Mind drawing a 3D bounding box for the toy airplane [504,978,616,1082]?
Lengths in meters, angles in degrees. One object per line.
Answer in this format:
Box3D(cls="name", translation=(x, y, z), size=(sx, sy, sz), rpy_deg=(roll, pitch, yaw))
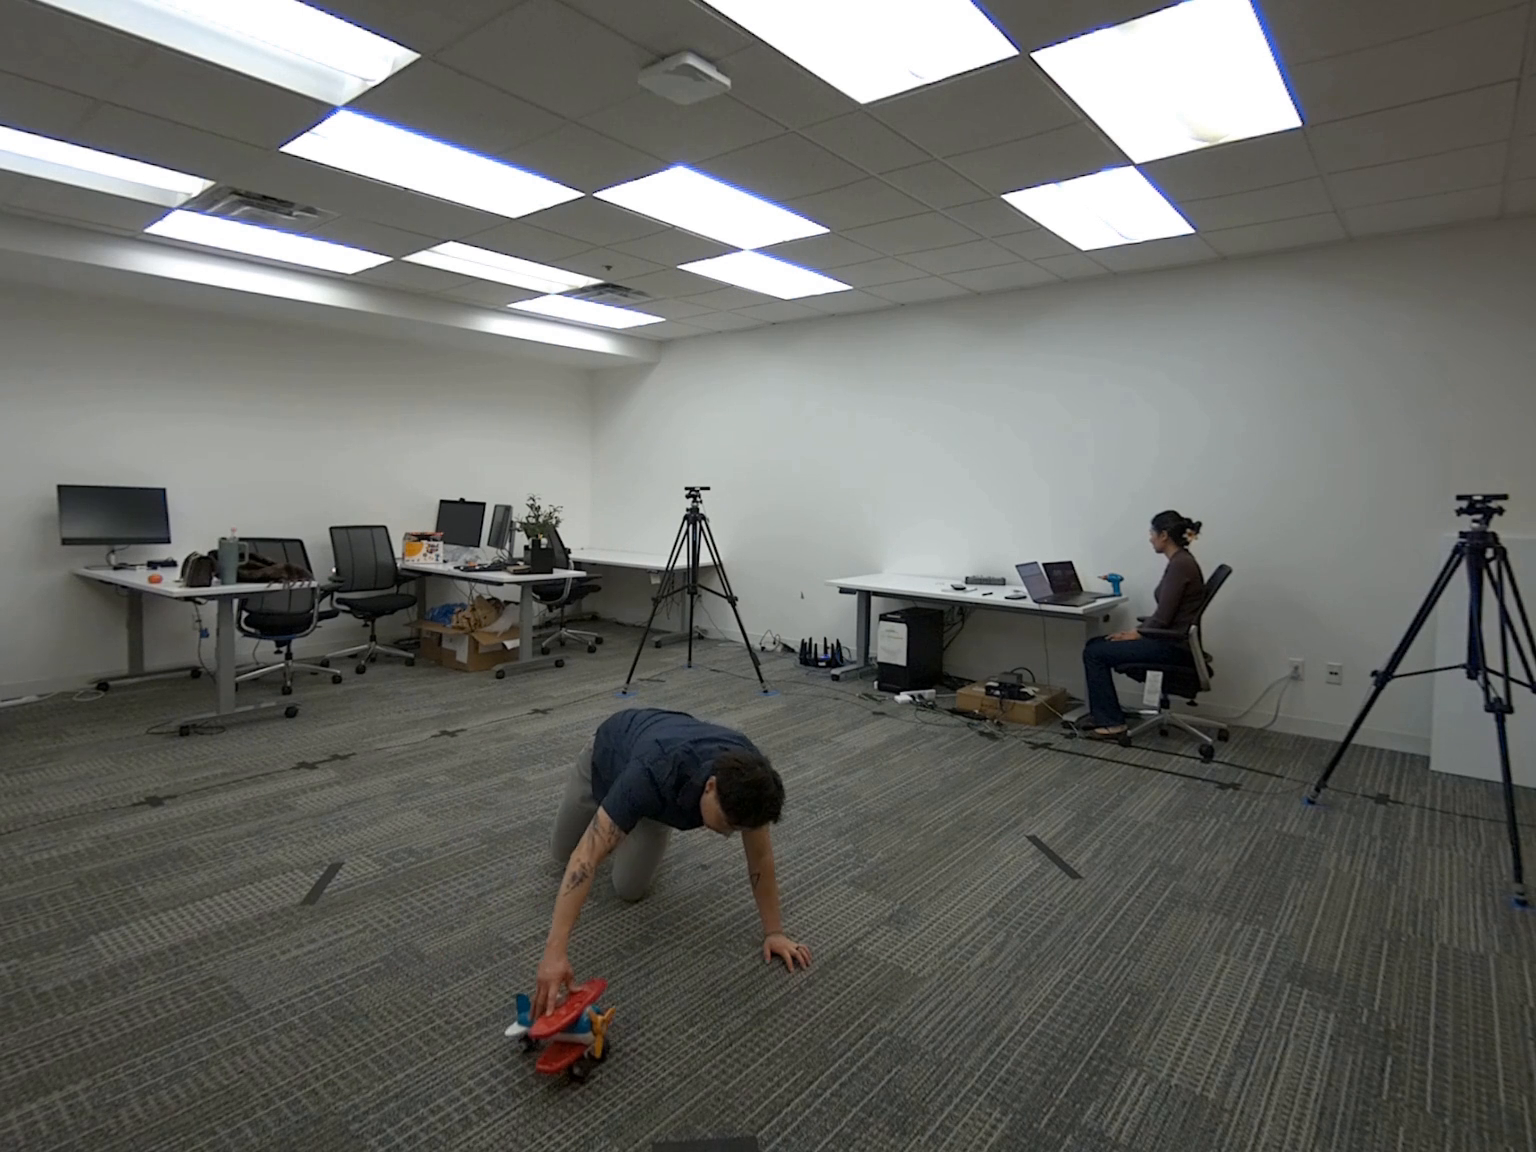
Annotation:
Box3D(cls="toy airplane", translation=(-0.513, 1.095, 2.048), size=(0.258, 0.156, 0.253), rpy_deg=(2, 4, -4))
